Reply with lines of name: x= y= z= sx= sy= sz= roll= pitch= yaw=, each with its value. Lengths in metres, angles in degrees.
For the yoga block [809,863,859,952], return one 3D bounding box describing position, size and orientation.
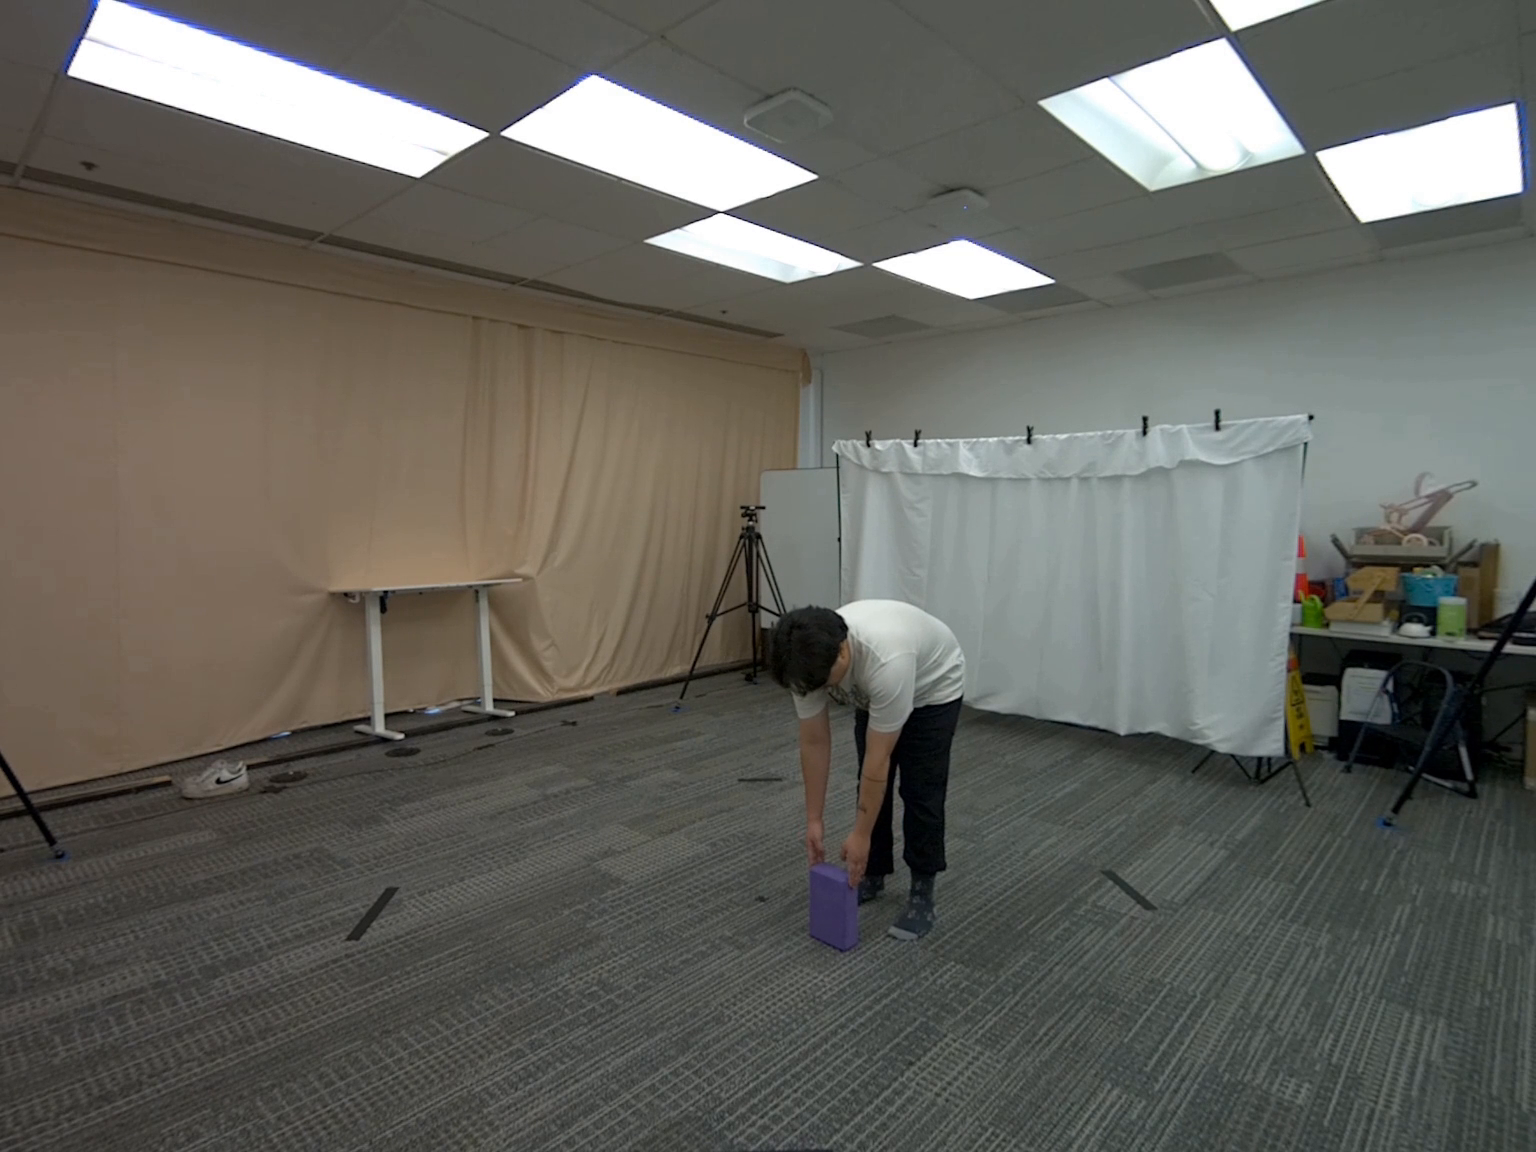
yoga block: x=0.218 y=1.058 z=2.687 sx=0.154 sy=0.229 sz=0.074 roll=5 pitch=4 yaw=44
